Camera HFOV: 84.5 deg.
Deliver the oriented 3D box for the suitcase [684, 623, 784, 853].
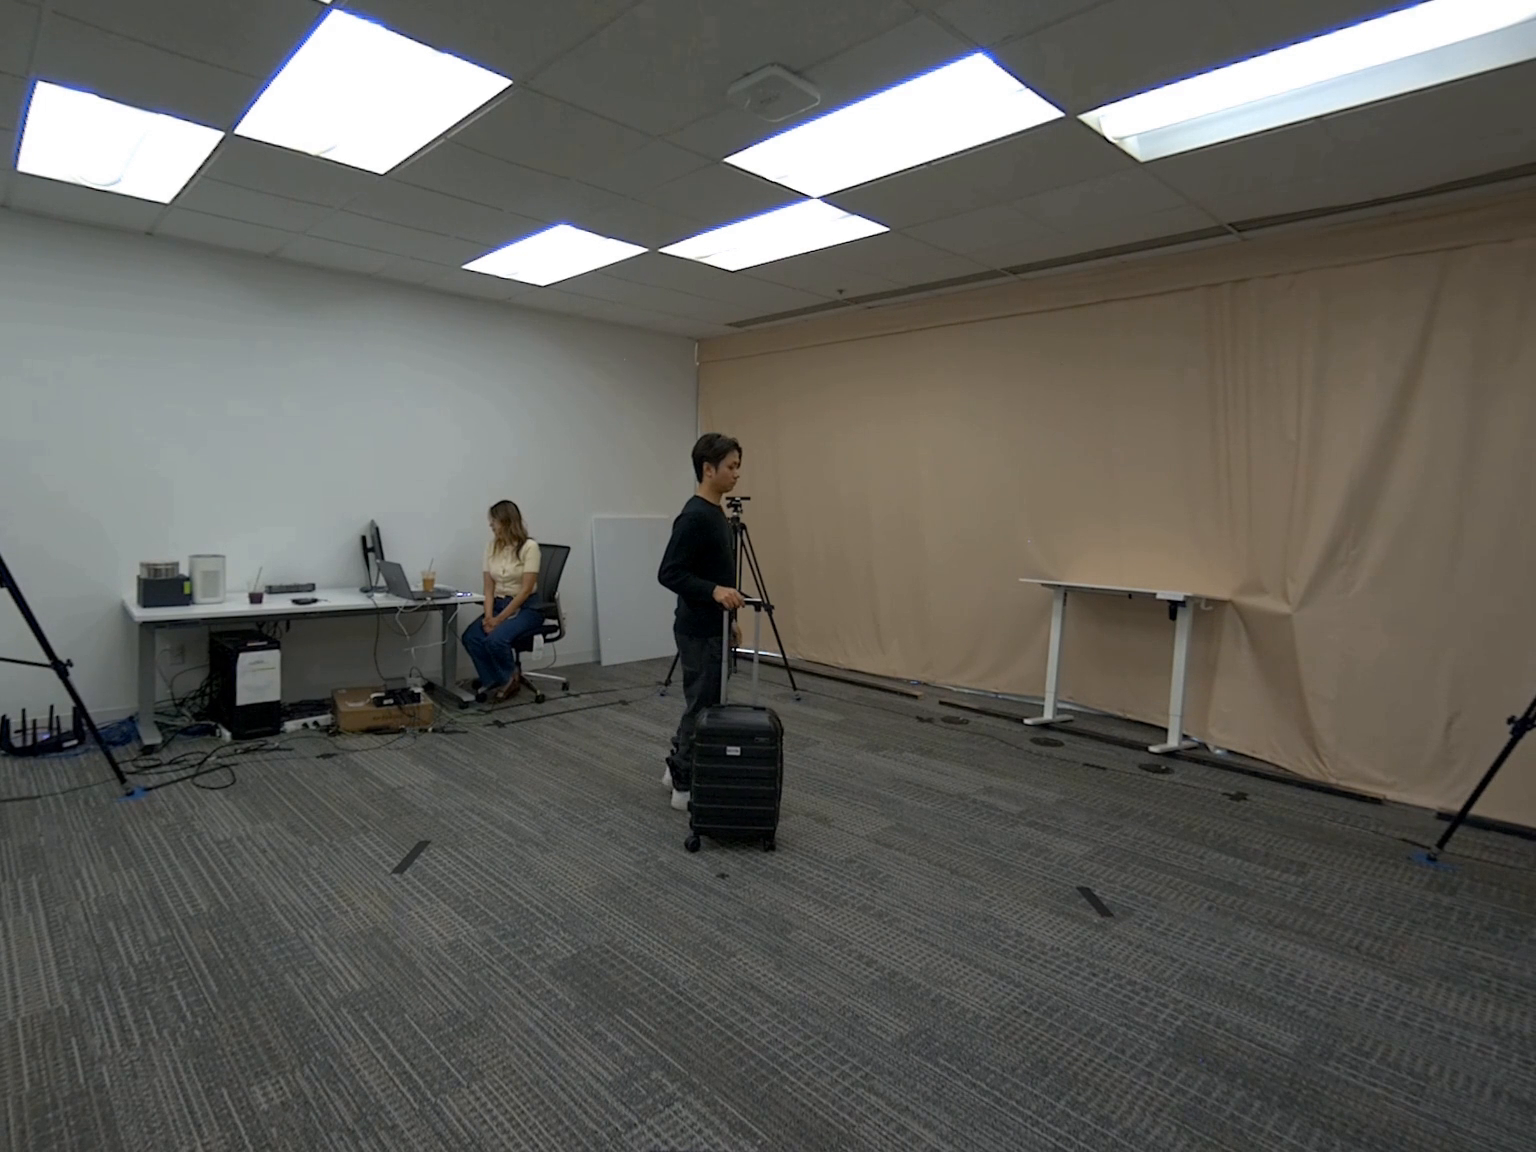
[{"bbox_3d":[-0.122,0.603,3.397,0.384,0.974,0.258,3,6,1],"label":"suitcase"}]
